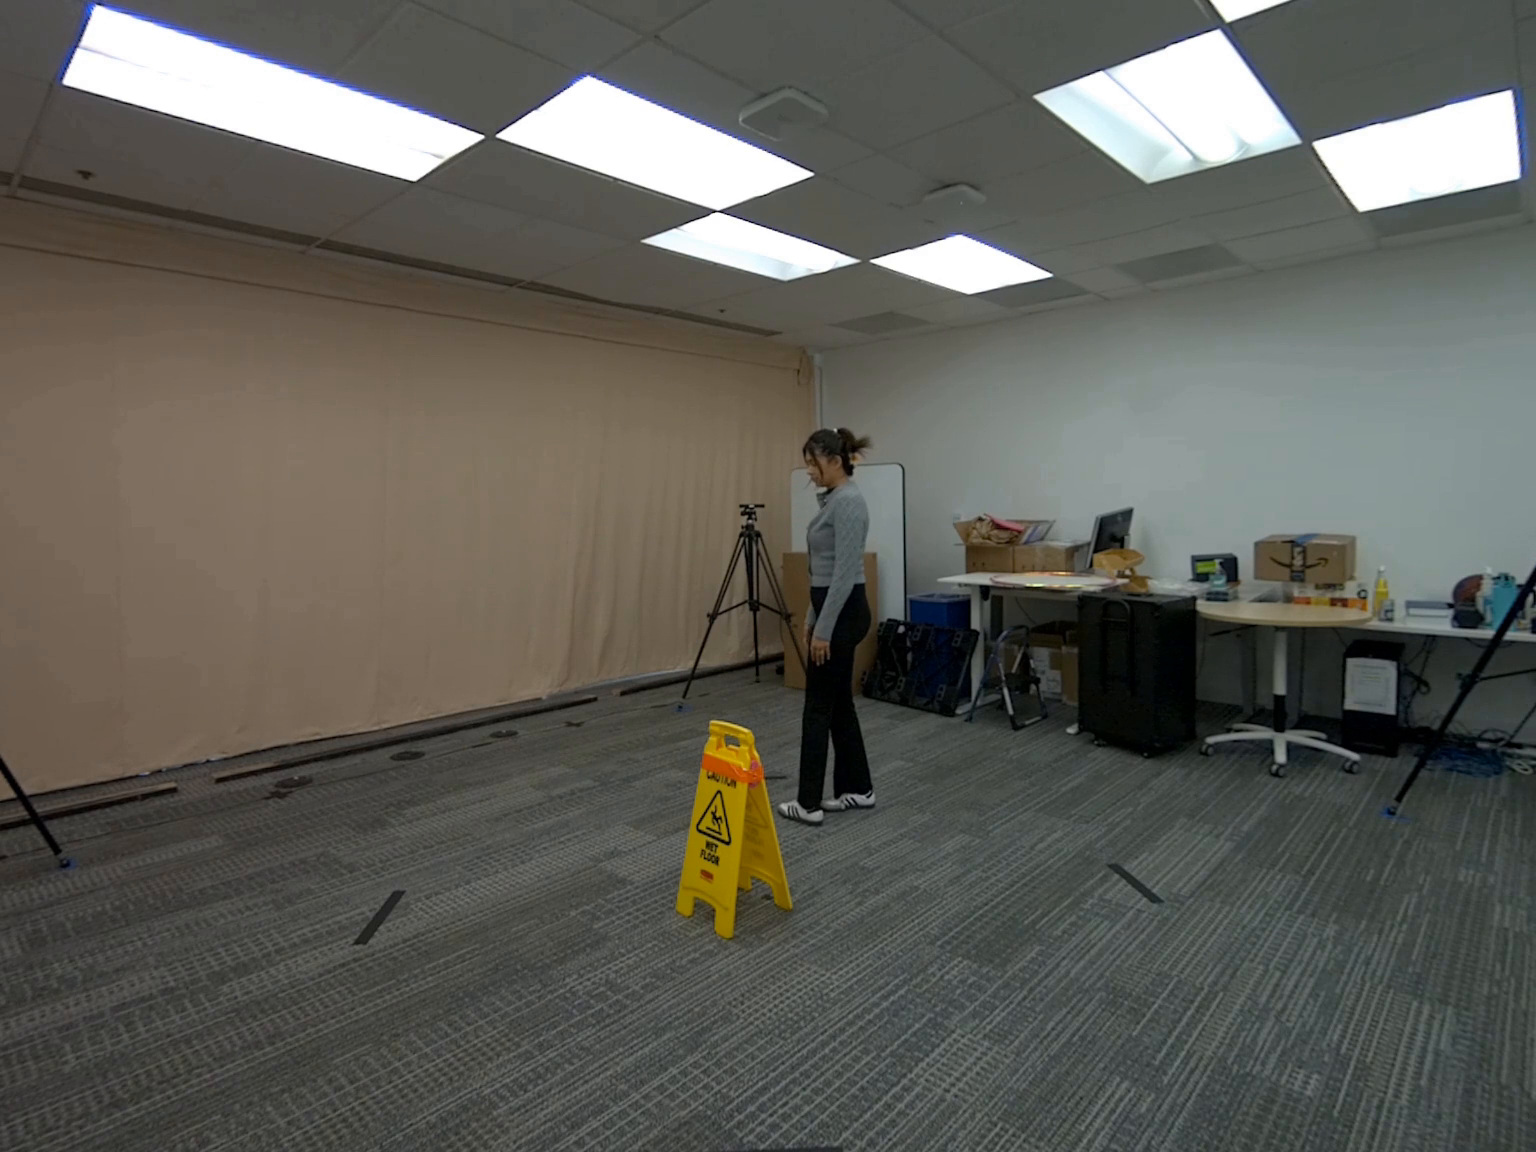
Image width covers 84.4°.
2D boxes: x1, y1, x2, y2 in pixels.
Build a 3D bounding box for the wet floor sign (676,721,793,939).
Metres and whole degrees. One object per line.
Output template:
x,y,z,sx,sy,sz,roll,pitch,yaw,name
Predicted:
-0.119,0.828,2.874,0.281,0.645,0.291,-4,4,-43,wet floor sign
